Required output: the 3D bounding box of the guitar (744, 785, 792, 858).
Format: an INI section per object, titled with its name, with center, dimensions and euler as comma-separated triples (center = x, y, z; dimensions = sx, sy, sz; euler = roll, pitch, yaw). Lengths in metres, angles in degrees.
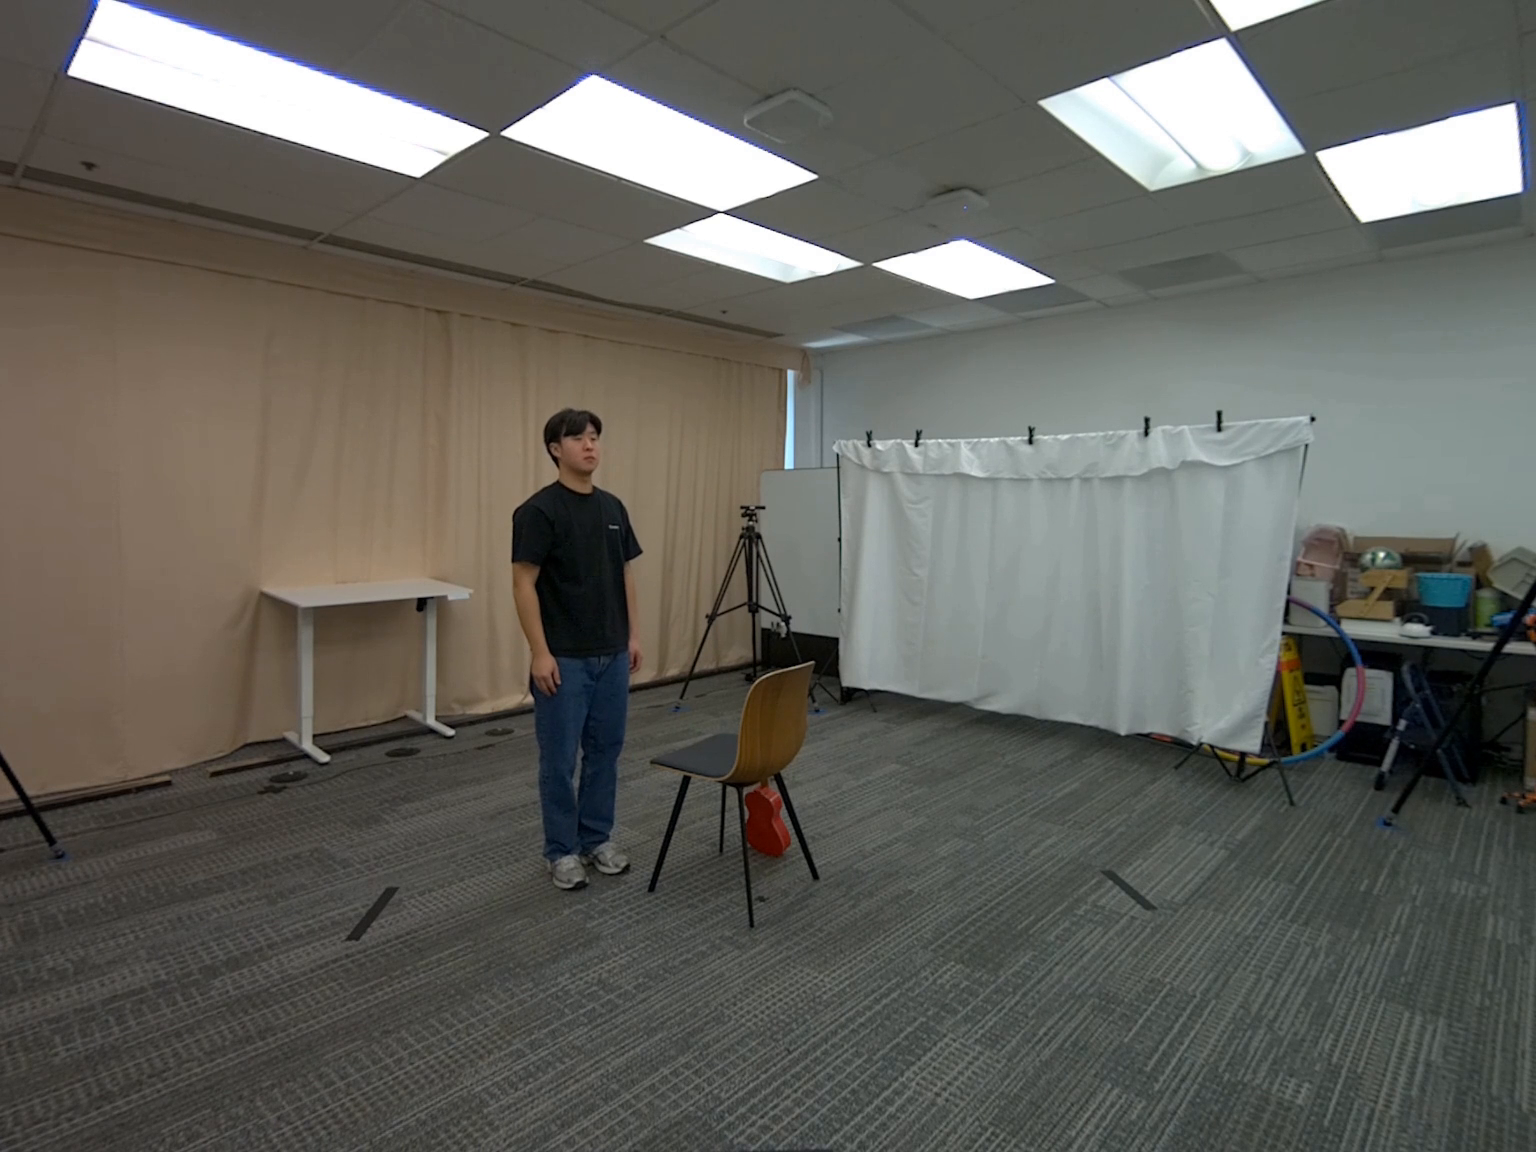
[guitar]
center = -0.042, 0.870, 3.355
dimensions = 0.199, 0.494, 0.069
euler = -7, 10, 42
